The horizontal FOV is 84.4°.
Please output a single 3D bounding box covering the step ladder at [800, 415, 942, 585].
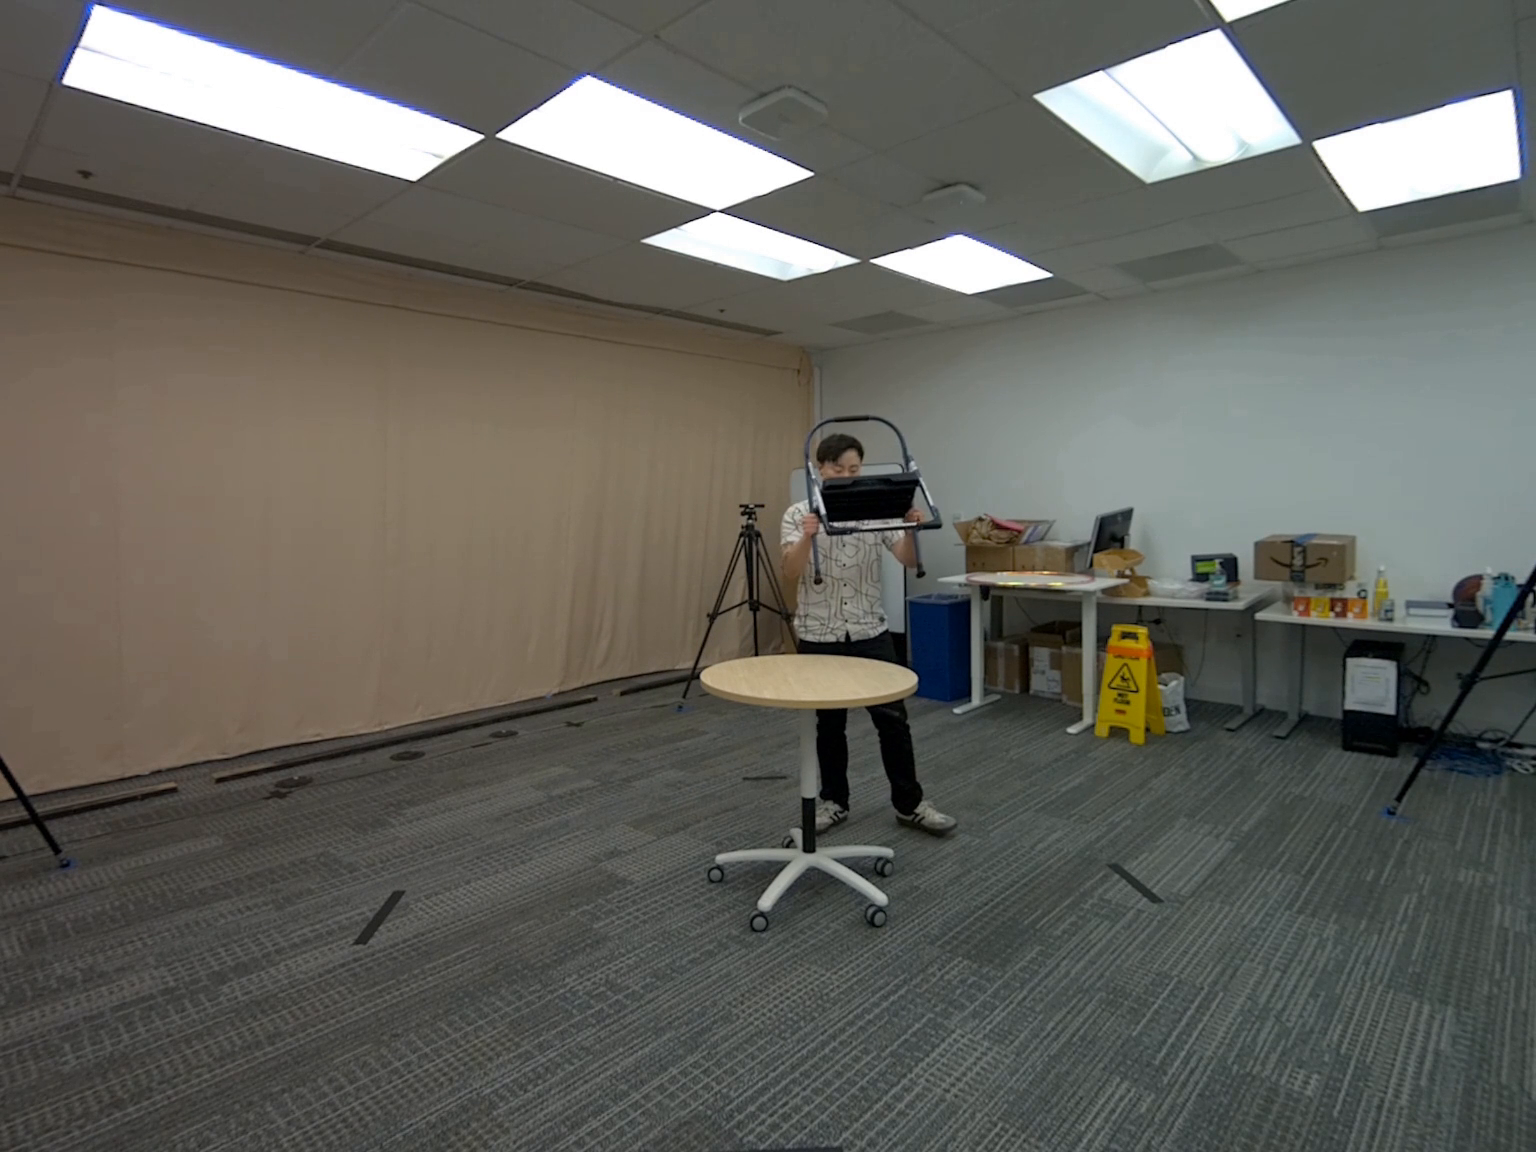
[{"bbox_3d":[0.373,-0.325,3.223,0.429,0.618,0.344,-3,-32,-4],"label":"step ladder"}]
